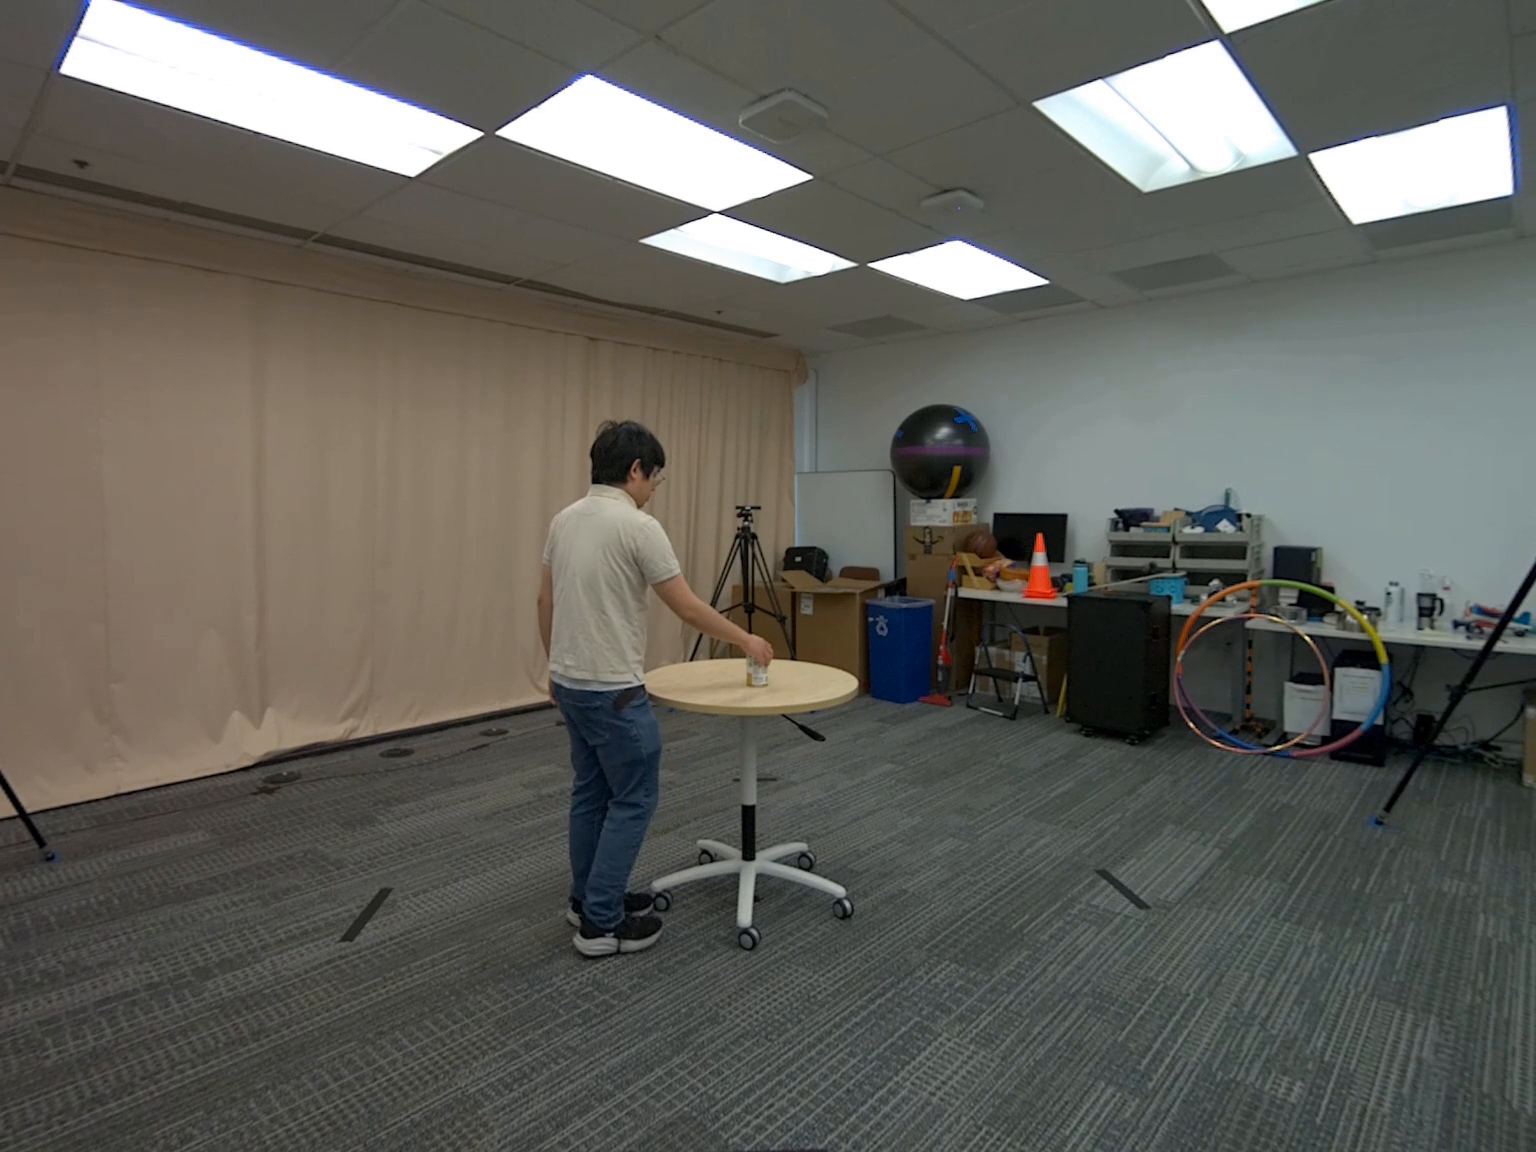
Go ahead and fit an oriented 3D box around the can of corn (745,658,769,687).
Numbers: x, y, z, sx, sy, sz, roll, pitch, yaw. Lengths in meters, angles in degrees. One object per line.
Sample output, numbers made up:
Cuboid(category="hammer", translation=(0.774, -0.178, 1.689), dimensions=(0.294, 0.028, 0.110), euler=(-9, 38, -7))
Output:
Cuboid(category="can of corn", translation=(-0.038, 0.319, 2.857), dimensions=(0.074, 0.110, 0.074), euler=(0, 7, -2))
